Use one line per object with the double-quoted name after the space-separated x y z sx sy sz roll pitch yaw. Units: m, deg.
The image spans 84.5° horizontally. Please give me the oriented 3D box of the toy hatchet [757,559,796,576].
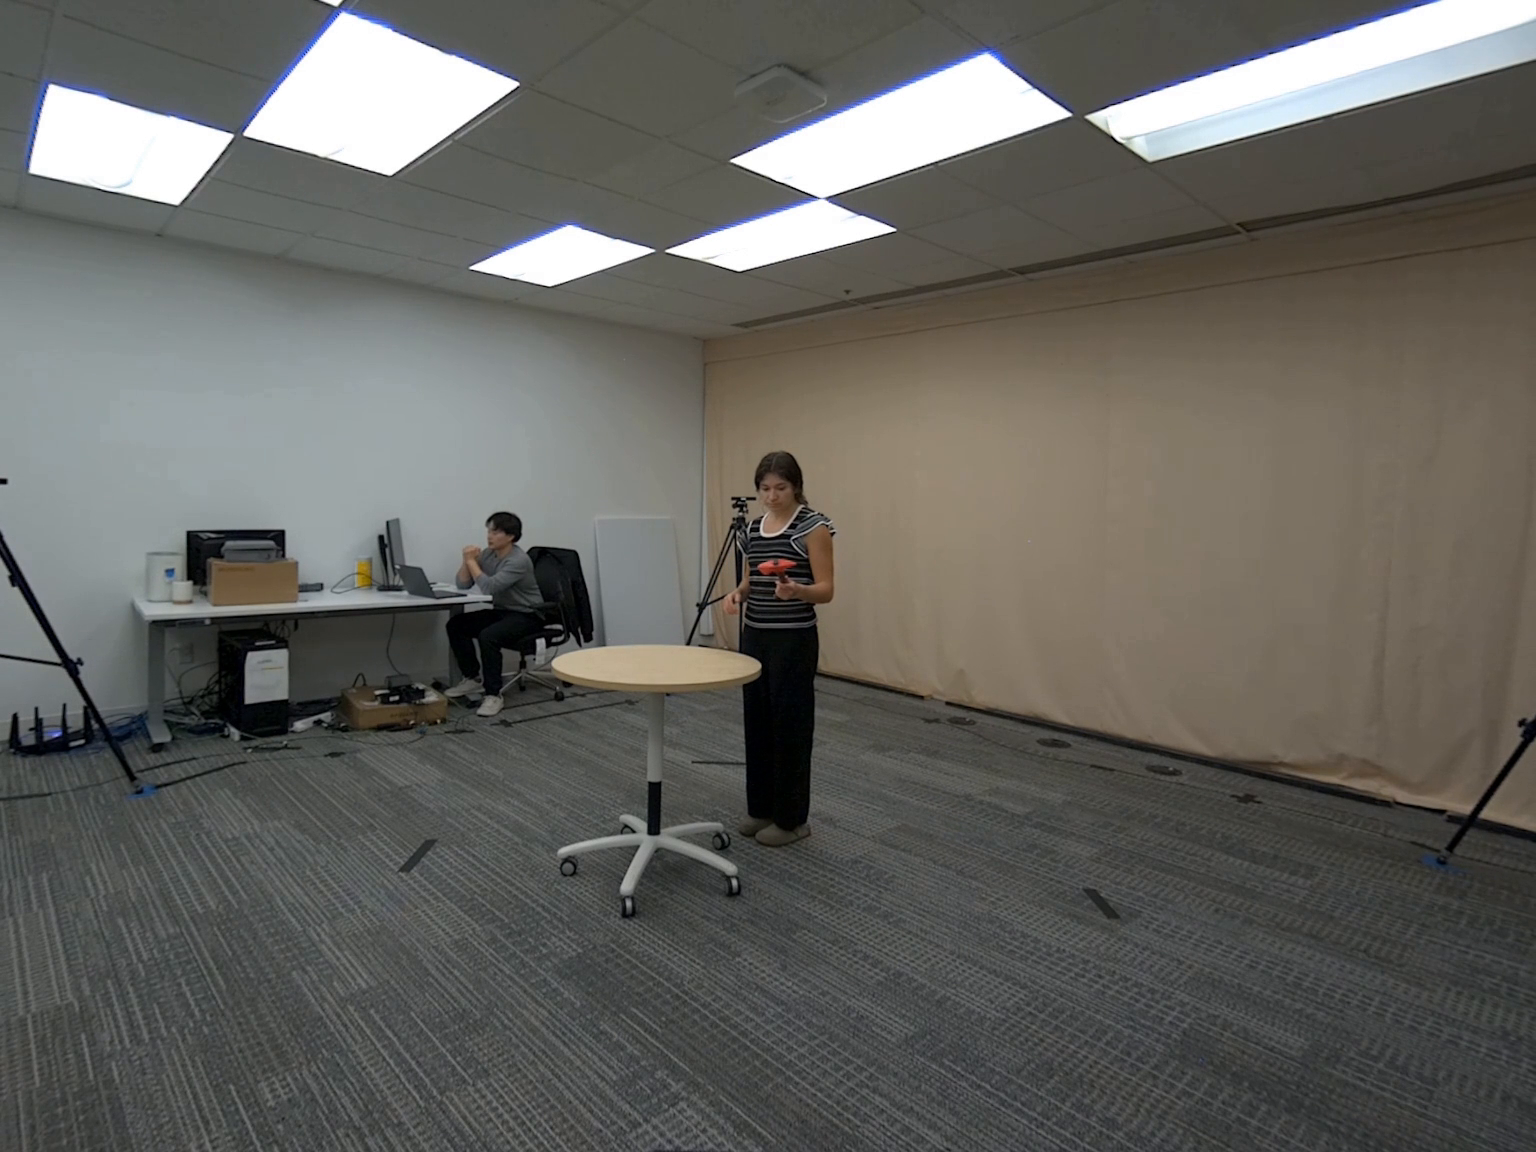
0.003 0.008 3.060 0.130 0.030 0.266 1 -25 -6 "toy hatchet"
